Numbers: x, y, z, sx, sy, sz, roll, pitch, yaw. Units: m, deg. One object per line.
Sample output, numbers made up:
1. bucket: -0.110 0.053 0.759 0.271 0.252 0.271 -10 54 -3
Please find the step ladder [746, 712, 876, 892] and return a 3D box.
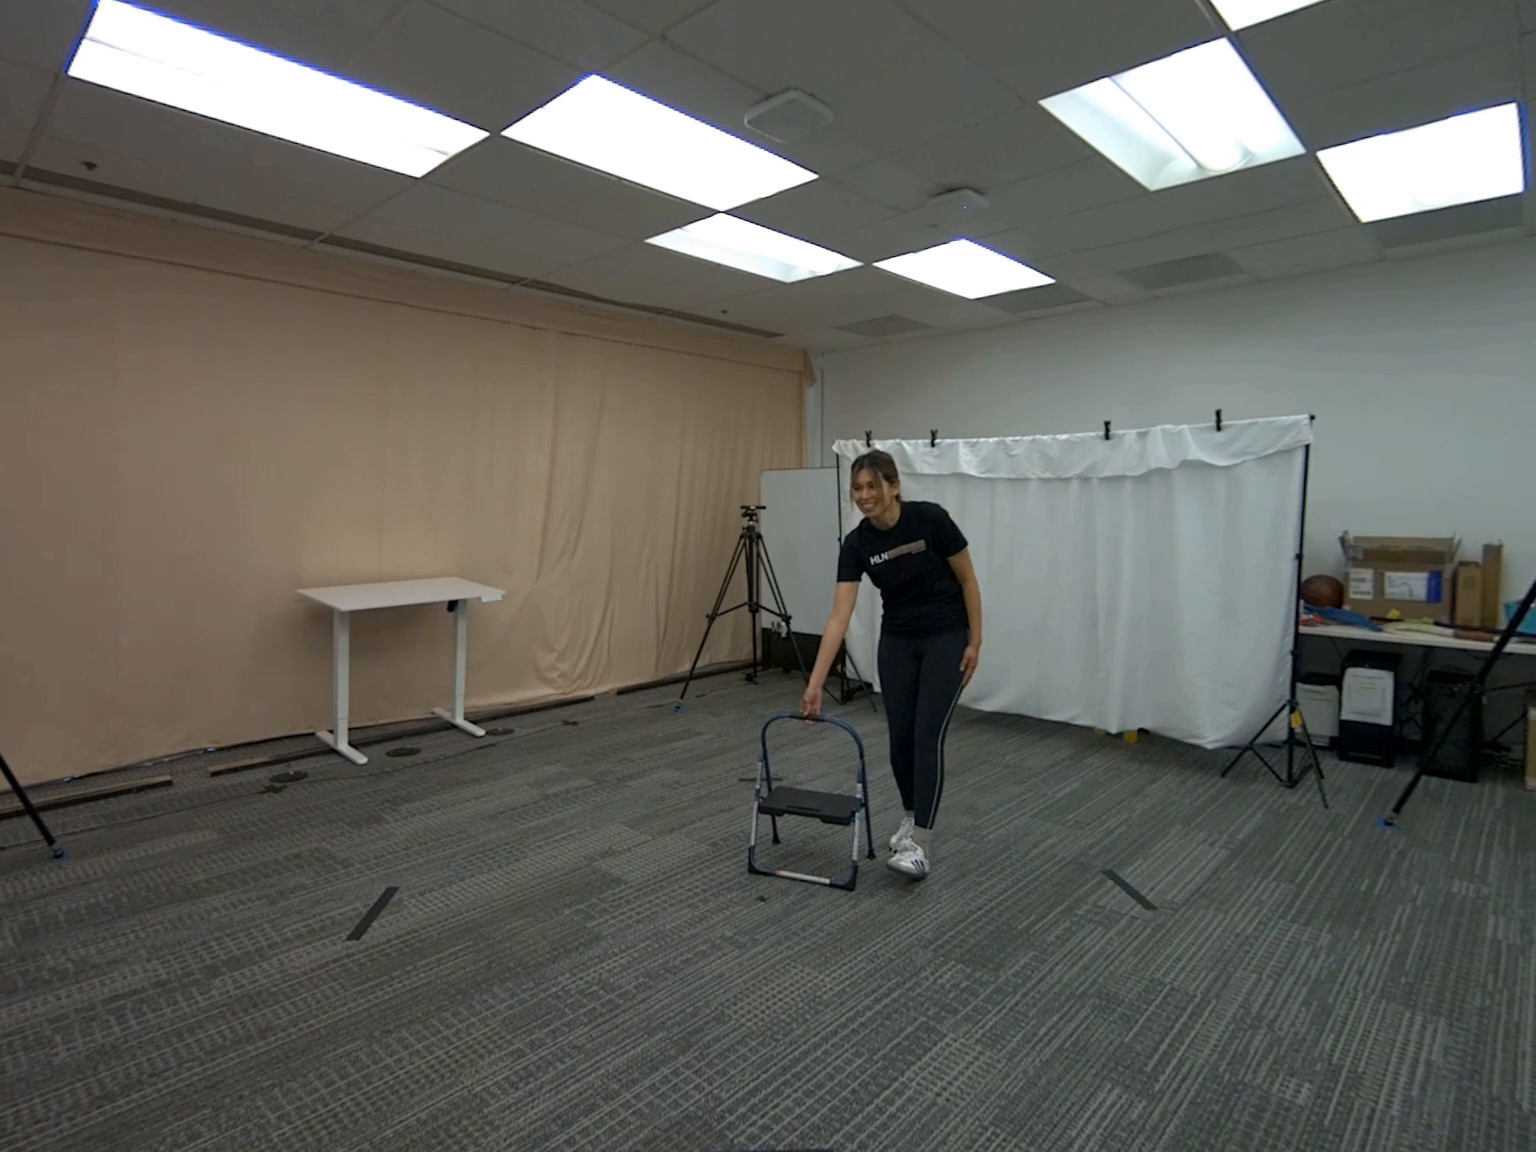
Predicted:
1. step ladder: 0.177 0.819 3.253 0.440 0.605 0.342 1 3 20
